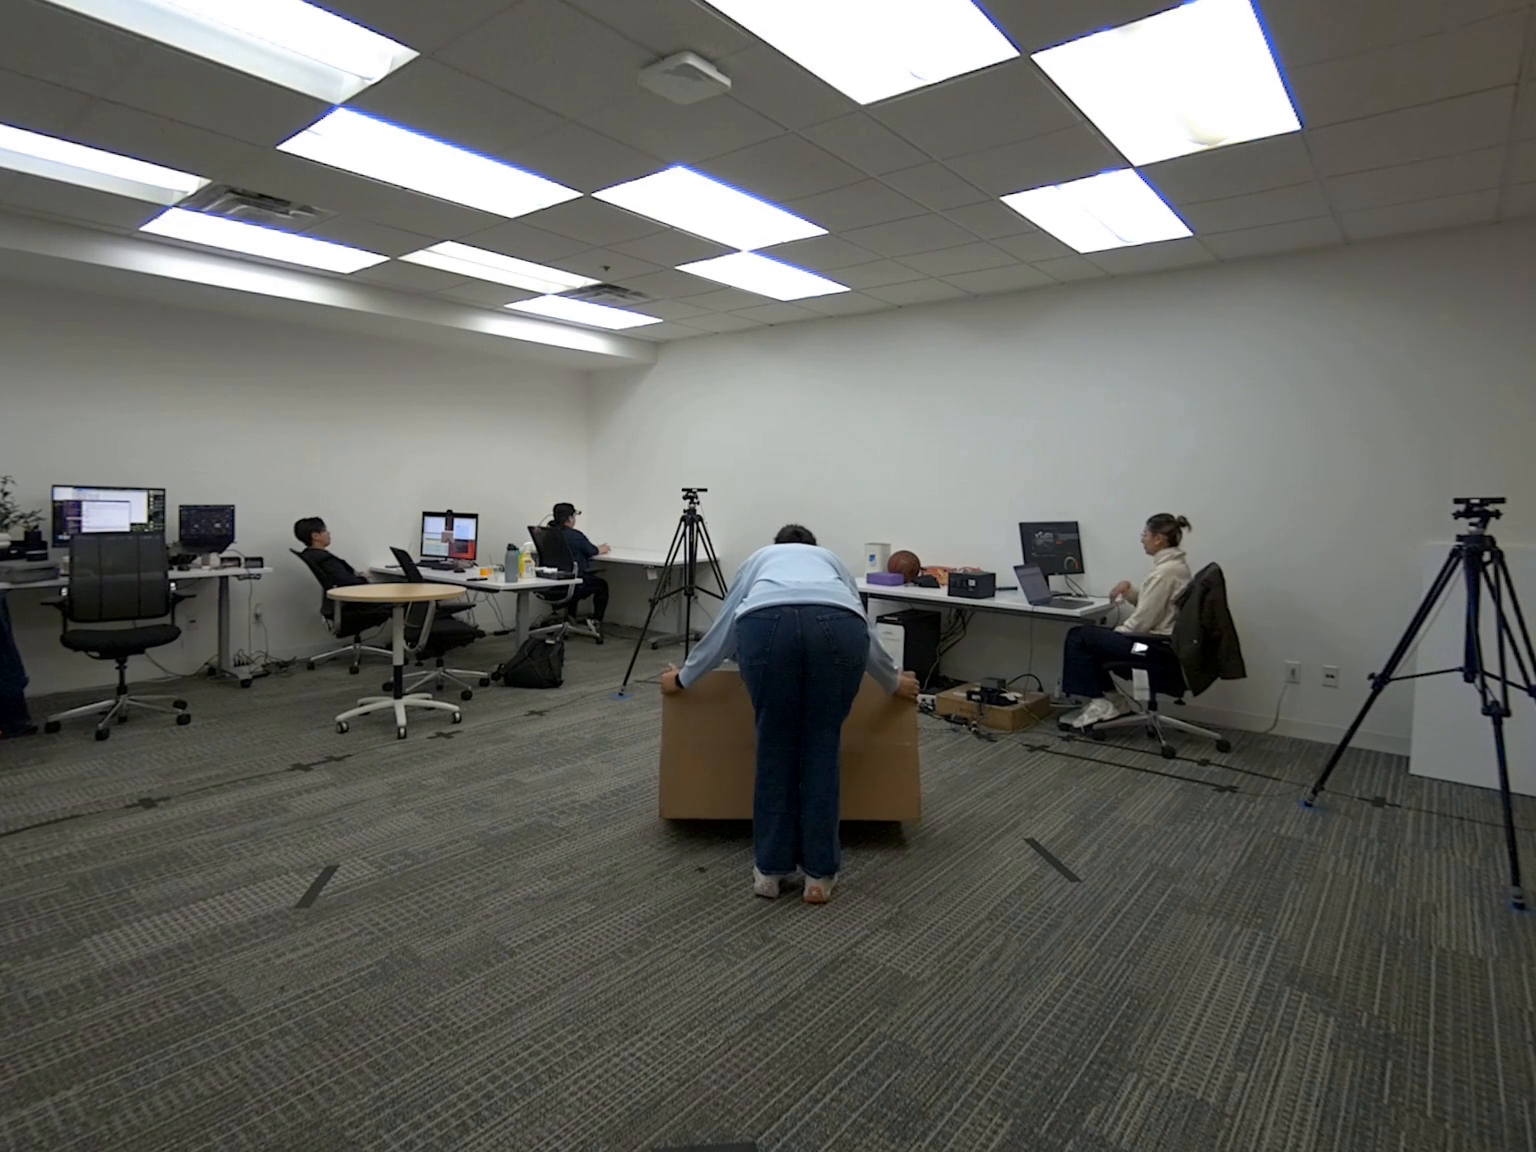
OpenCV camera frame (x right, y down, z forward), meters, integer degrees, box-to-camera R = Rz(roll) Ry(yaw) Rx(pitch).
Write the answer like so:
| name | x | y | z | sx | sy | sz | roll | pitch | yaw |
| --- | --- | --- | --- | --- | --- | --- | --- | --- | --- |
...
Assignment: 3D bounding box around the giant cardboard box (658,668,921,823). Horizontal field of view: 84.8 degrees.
| name | x | y | z | sx | sy | sz | roll | pitch | yaw |
| --- | --- | --- | --- | --- | --- | --- | --- | --- | --- |
| giant cardboard box | 0.062 | 0.698 | 3.555 | 1.024 | 0.586 | 0.421 | 1 | -14 | -2 |
